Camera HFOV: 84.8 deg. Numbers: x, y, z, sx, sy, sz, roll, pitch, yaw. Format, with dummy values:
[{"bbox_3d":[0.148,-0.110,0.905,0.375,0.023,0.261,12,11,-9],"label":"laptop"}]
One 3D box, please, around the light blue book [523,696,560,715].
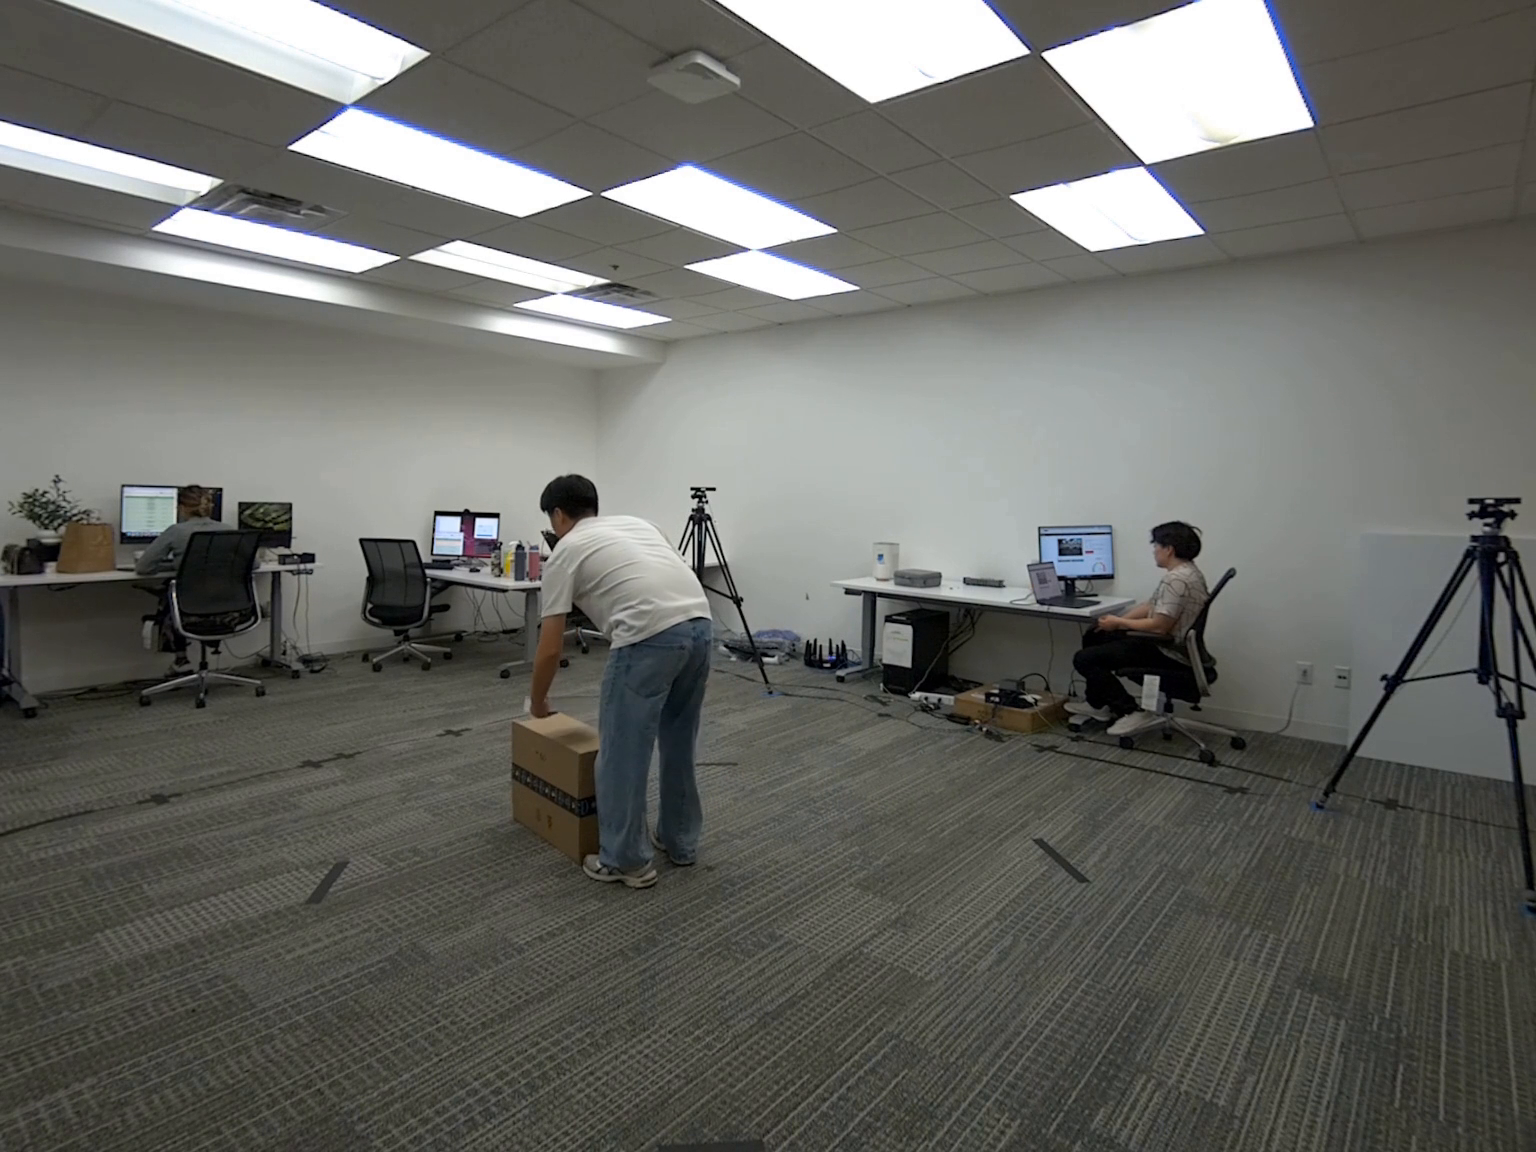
[{"bbox_3d":[-0.805,0.476,3.310,0.196,0.059,0.252,-7,-9,44],"label":"light blue book"}]
